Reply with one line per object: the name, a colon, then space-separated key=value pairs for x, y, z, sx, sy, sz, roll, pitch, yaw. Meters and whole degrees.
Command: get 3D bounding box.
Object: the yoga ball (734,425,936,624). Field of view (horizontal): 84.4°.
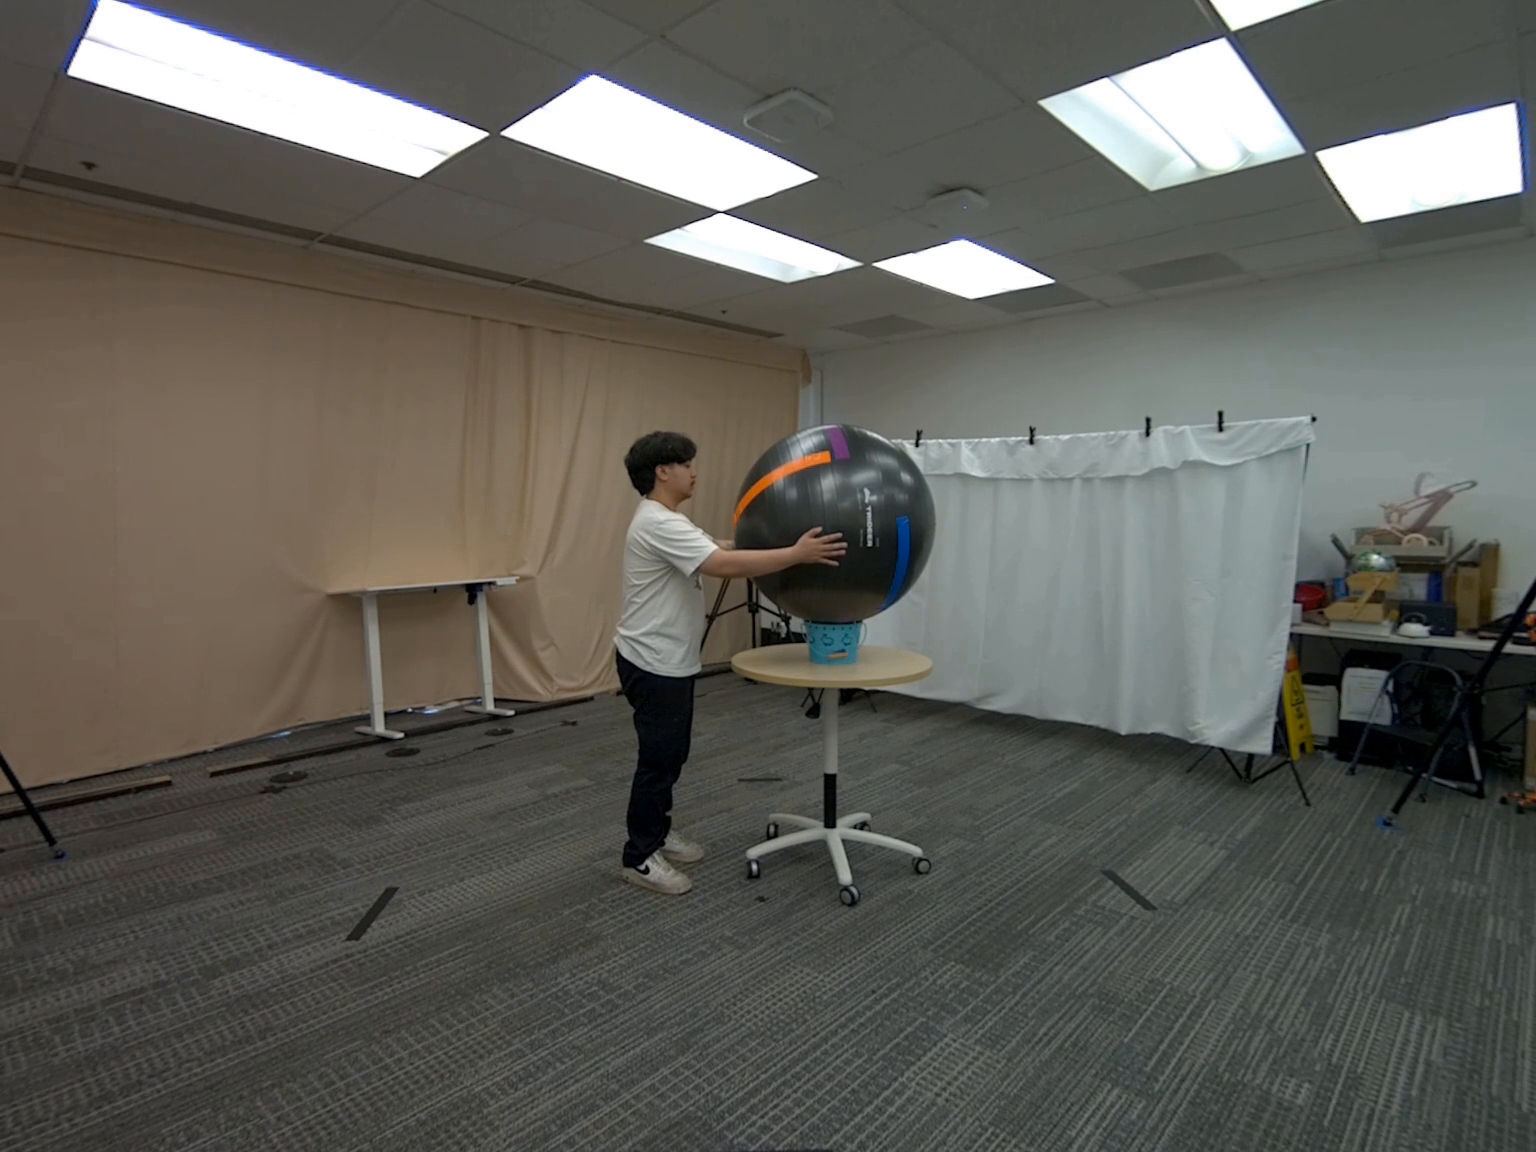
yoga ball: x=0.255 y=-0.194 z=3.220 sx=0.757 sy=0.756 sz=0.760 roll=0 pitch=4 yaw=-2
